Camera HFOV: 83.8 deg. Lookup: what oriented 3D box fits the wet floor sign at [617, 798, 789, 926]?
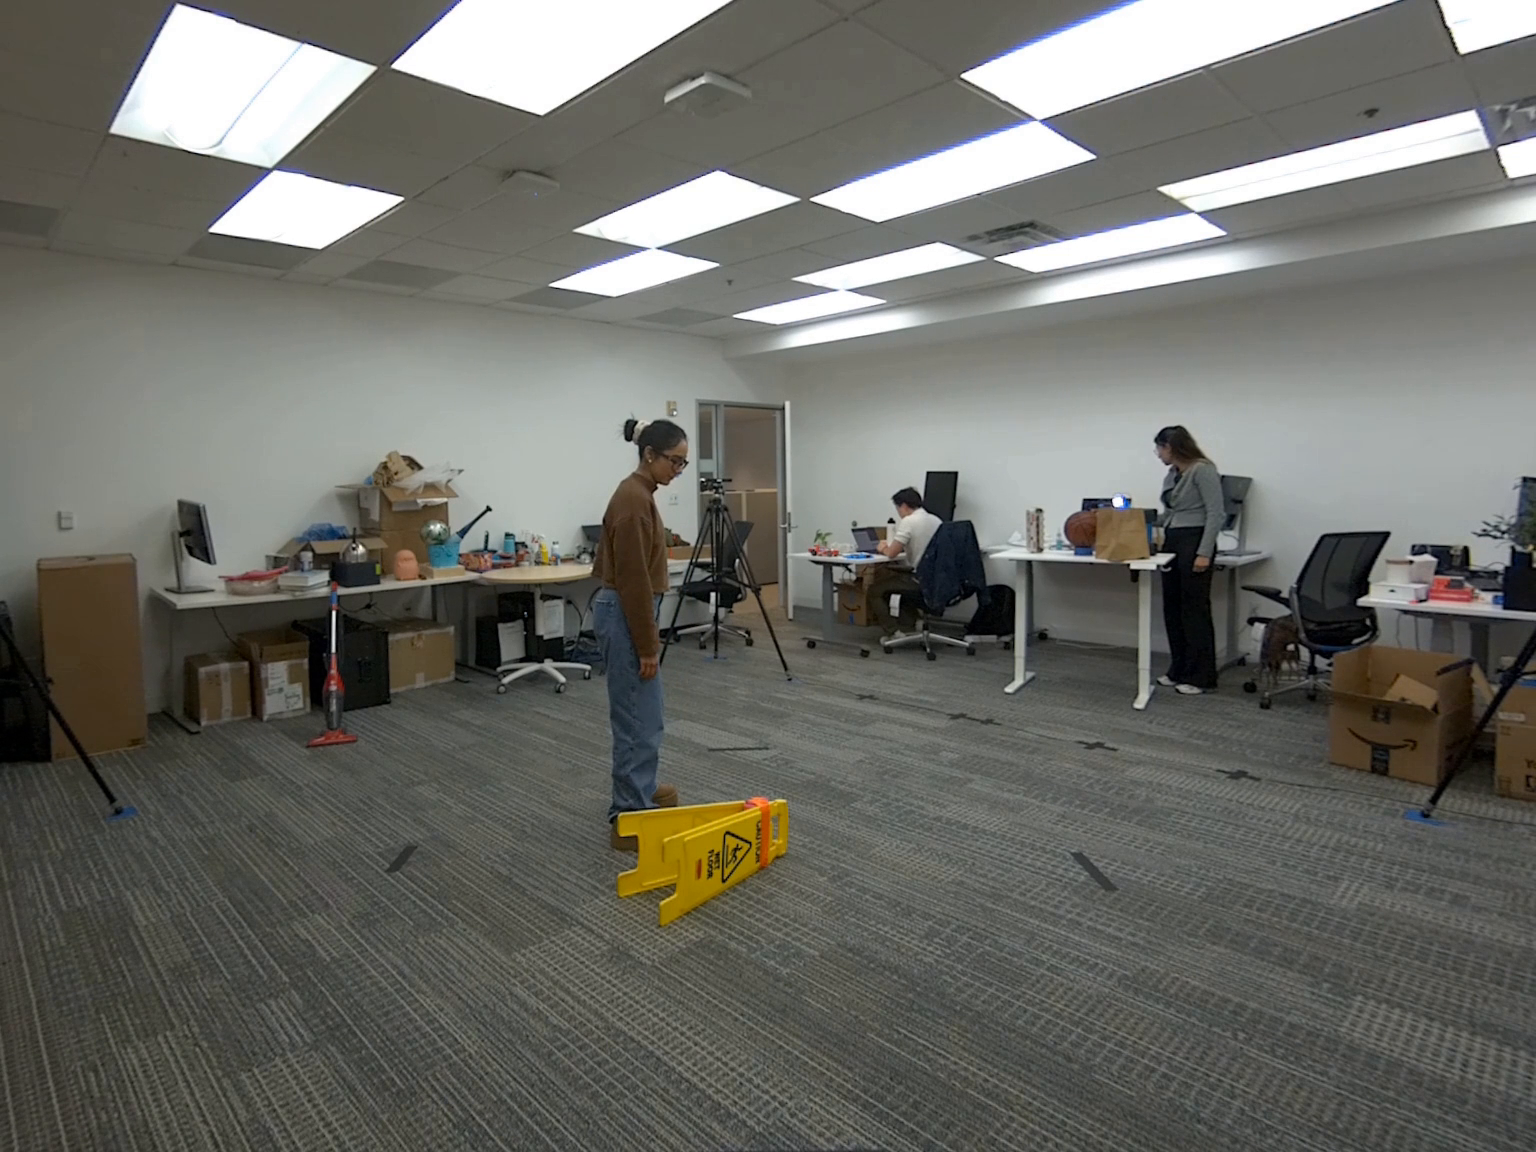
[{"bbox_3d":[-0.177,0.936,2.971,0.628,0.281,0.299,-3,5,-40],"label":"wet floor sign"}]
